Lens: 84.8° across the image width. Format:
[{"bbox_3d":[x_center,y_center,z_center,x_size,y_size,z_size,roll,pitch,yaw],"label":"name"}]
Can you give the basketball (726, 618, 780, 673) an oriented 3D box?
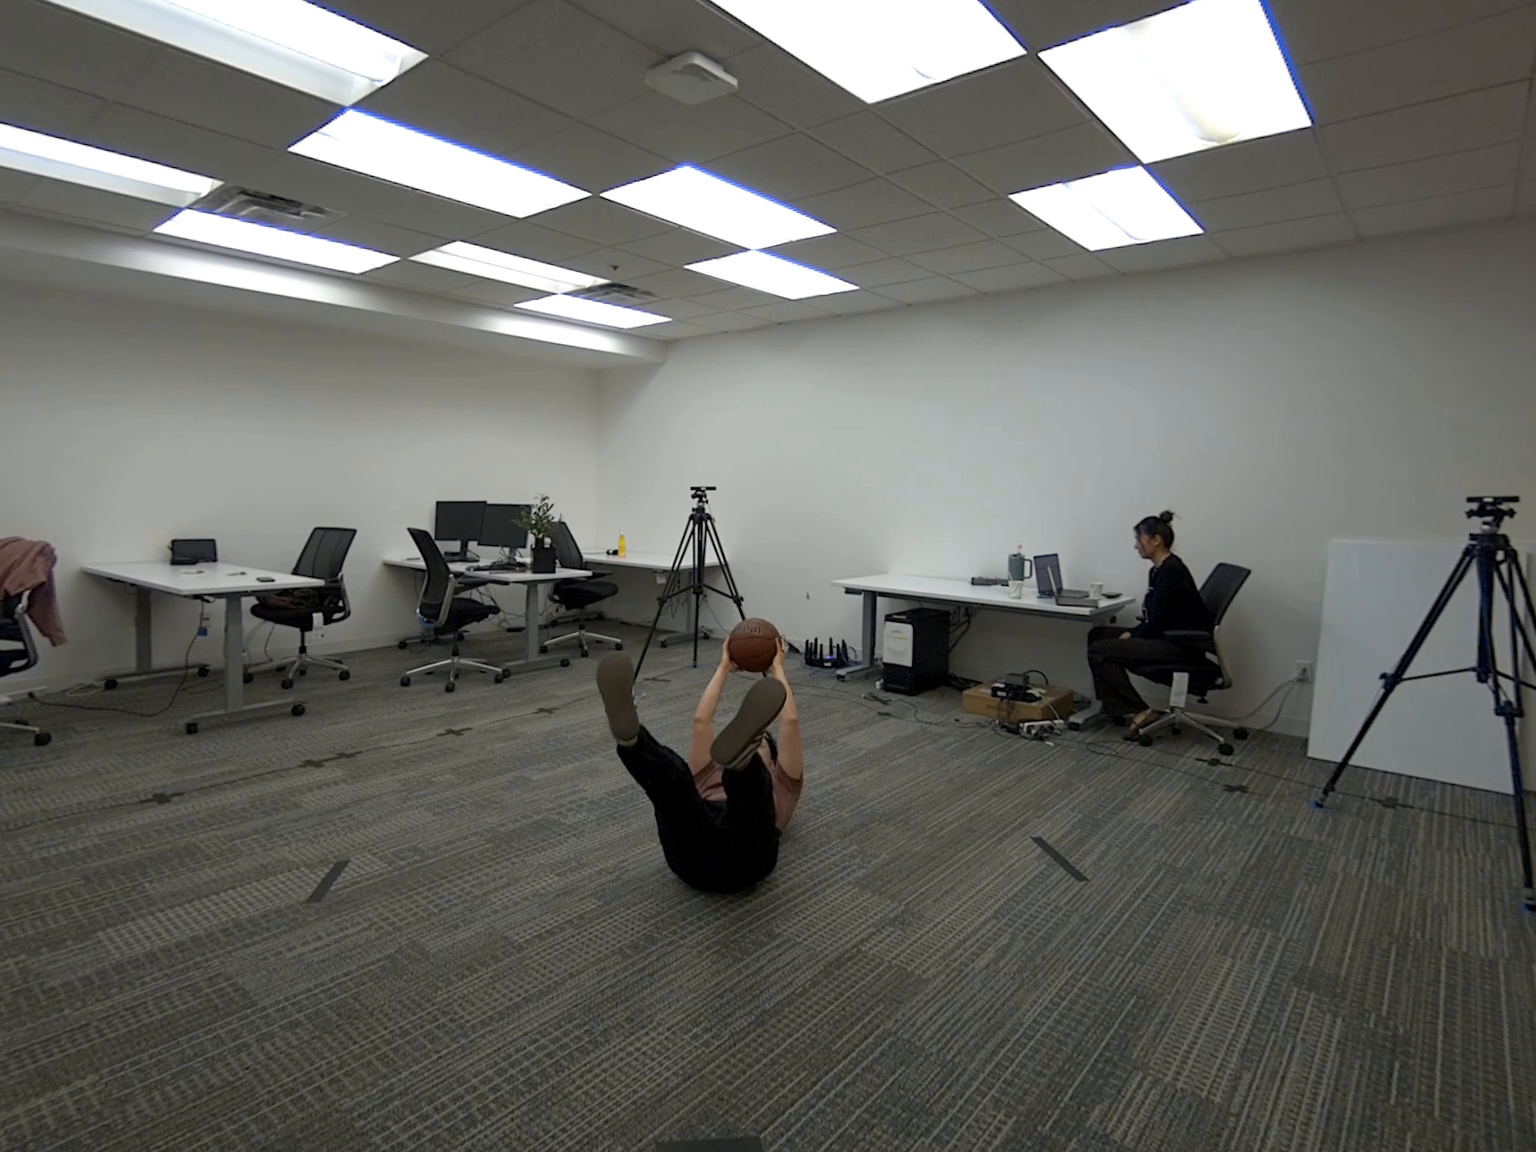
[{"bbox_3d":[-0.070,0.297,3.705,0.236,0.235,0.237,-3,3,-2],"label":"basketball"}]
